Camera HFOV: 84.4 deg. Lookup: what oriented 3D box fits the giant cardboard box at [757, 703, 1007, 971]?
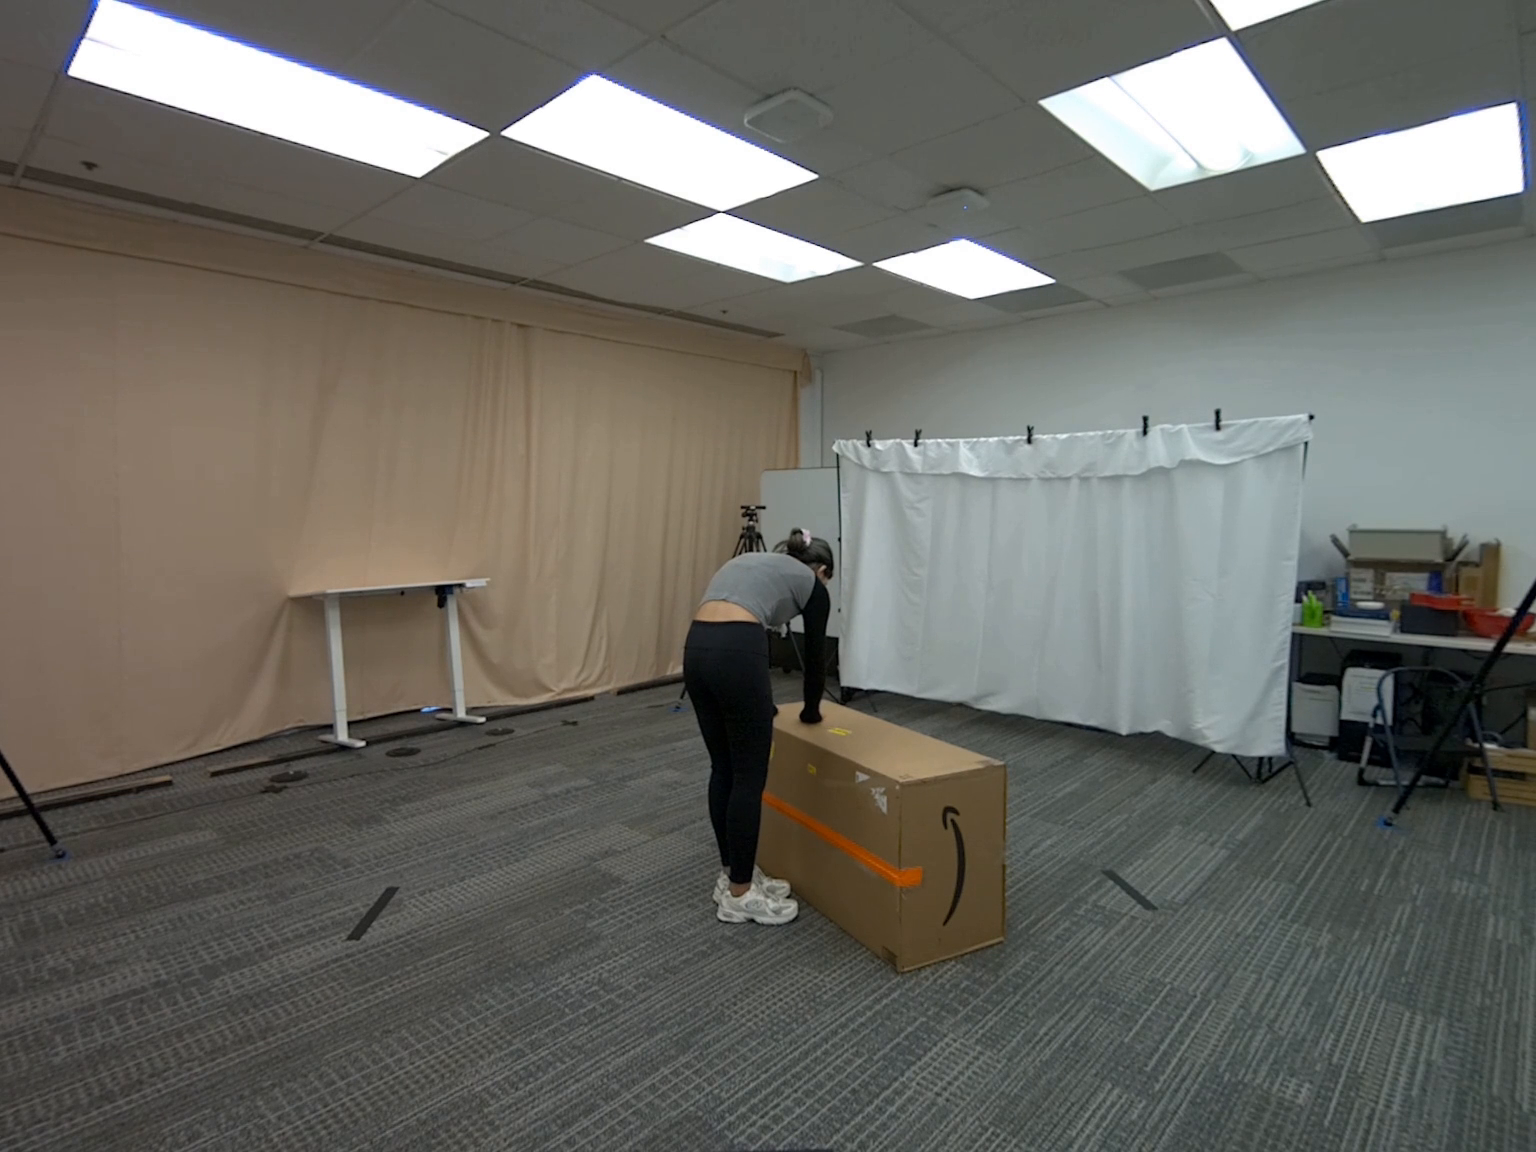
[{"bbox_3d":[0.319,0.850,3.034,0.415,0.576,1.055,-2,4,-29],"label":"giant cardboard box"}]
